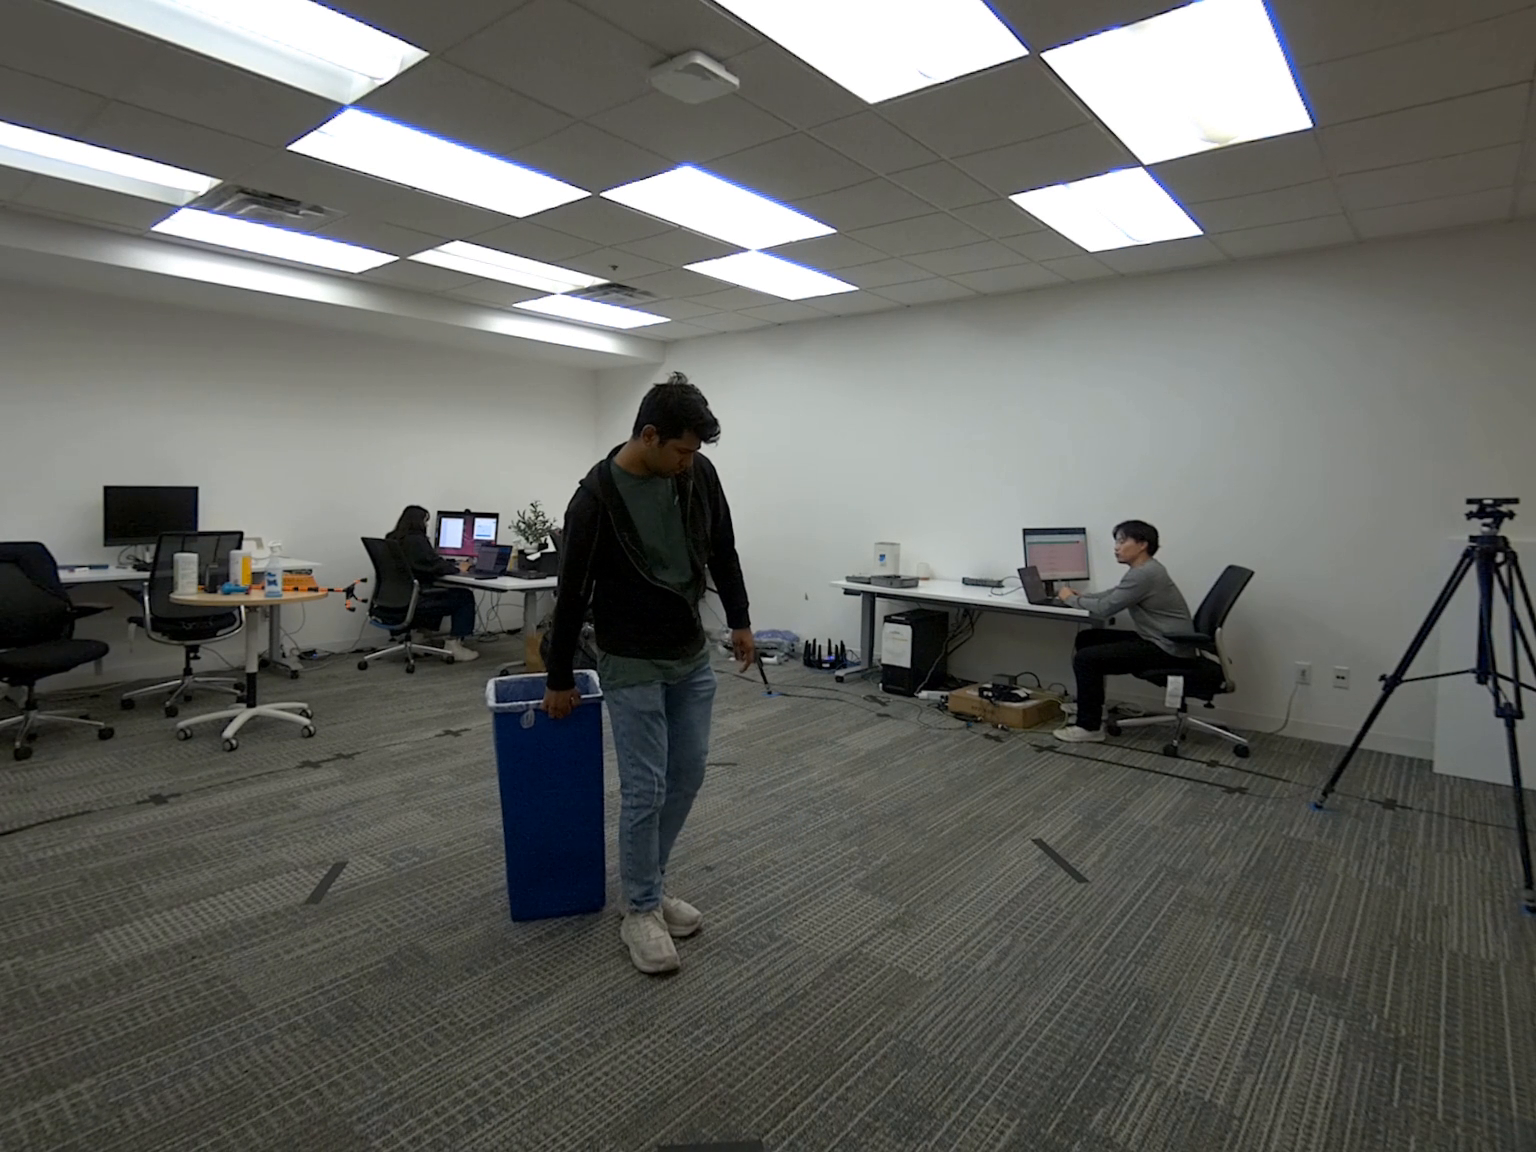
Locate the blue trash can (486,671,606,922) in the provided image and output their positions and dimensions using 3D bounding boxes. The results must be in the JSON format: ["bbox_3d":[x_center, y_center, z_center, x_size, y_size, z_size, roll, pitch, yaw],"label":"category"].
[{"bbox_3d":[-0.730,0.719,2.852,0.369,0.710,0.385,-3,5,-15],"label":"blue trash can"}]
